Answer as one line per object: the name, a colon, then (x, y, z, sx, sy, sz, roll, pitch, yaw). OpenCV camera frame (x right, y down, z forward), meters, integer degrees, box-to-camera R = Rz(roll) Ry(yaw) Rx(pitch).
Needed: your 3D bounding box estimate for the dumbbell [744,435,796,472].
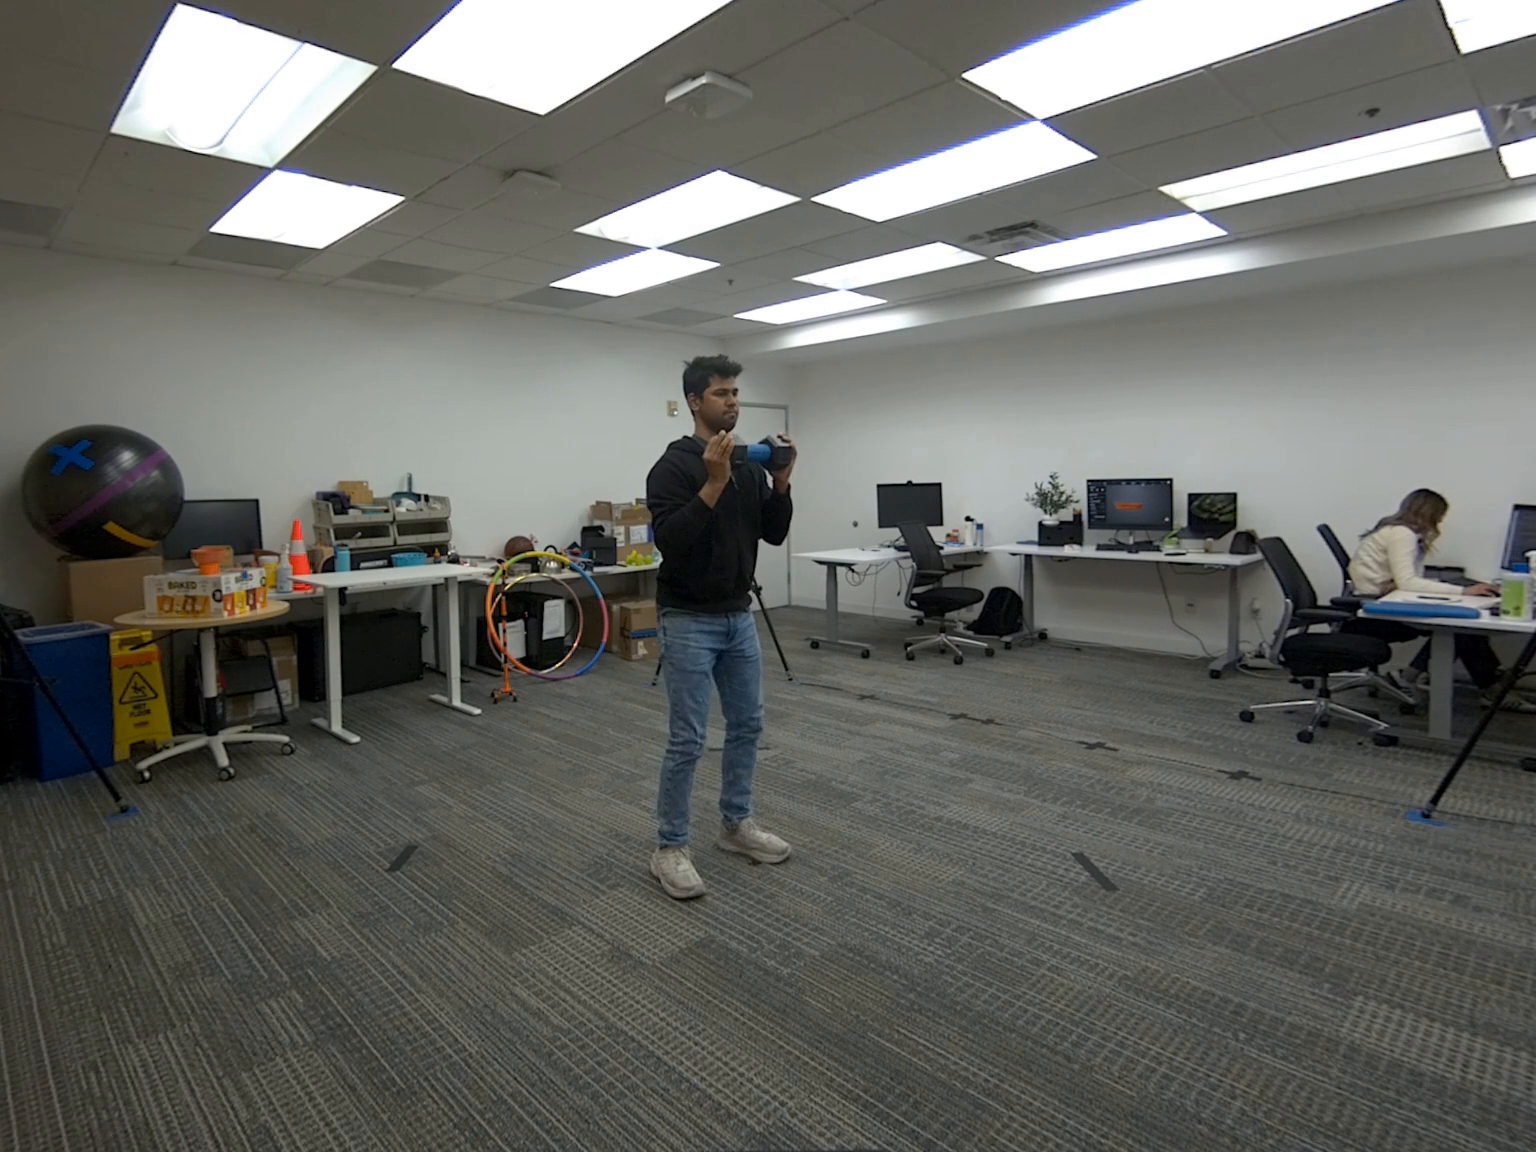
dumbbell: (-0.062, -0.405, 2.878, 0.286, 0.122, 0.112, -7, 16, -42)
